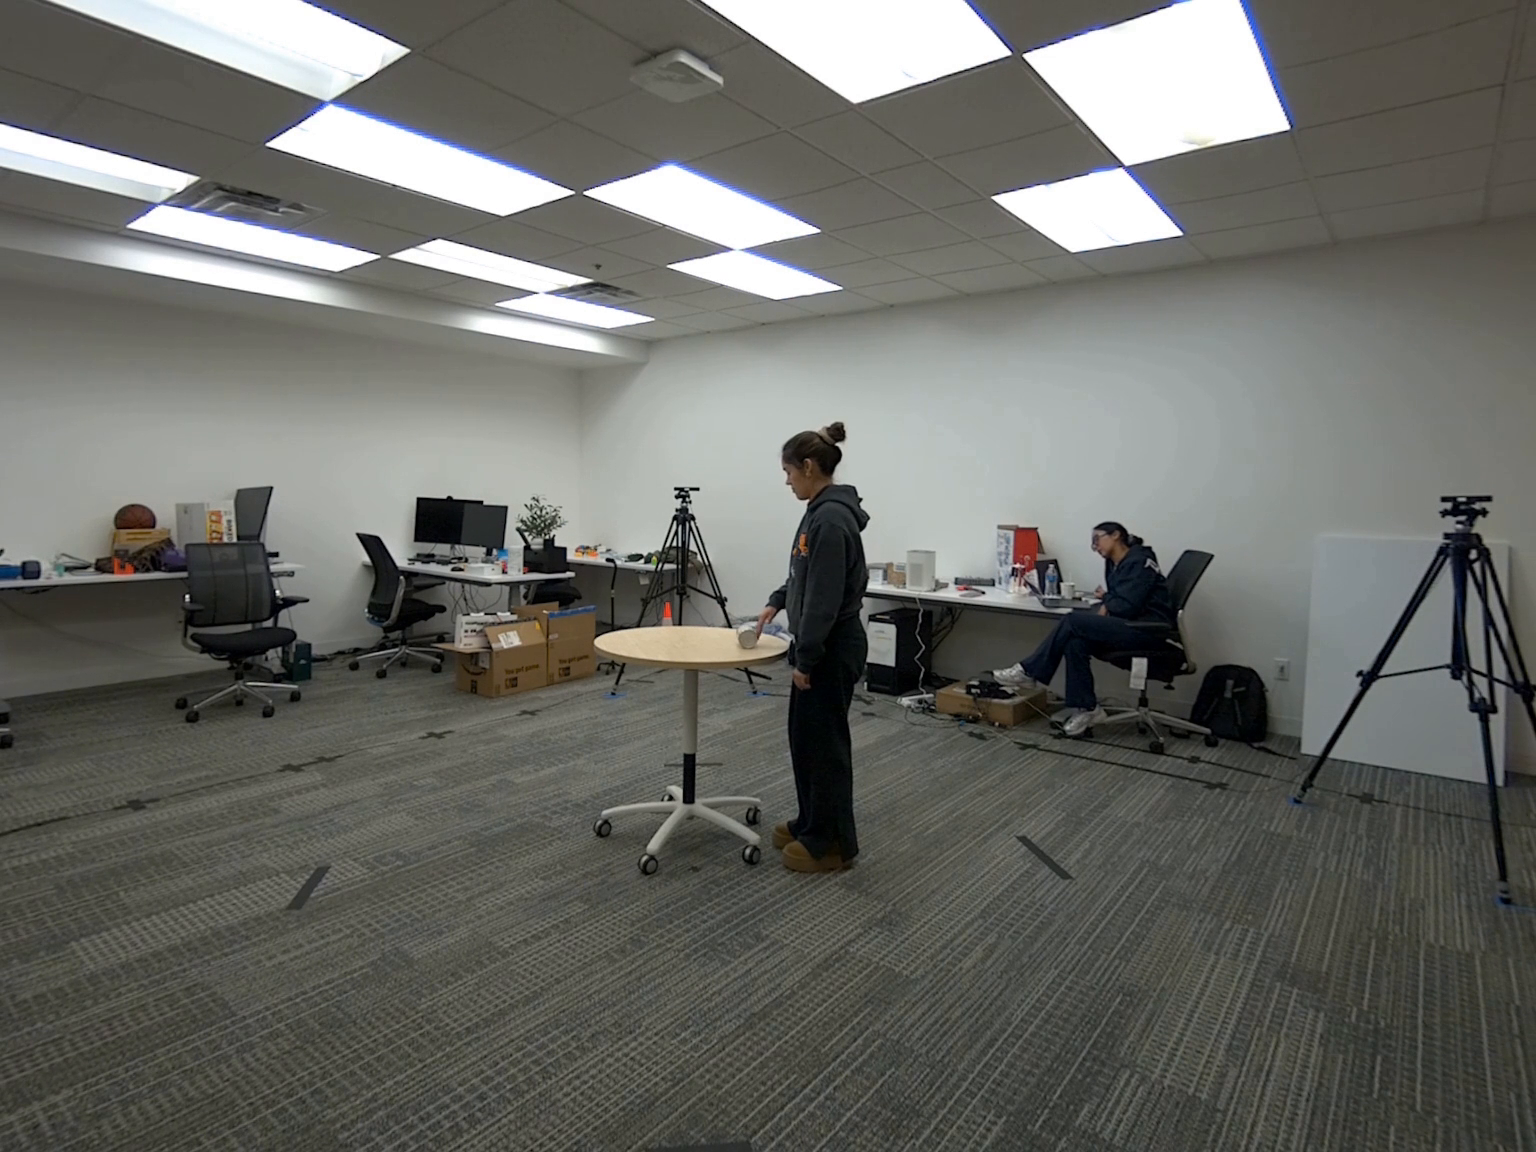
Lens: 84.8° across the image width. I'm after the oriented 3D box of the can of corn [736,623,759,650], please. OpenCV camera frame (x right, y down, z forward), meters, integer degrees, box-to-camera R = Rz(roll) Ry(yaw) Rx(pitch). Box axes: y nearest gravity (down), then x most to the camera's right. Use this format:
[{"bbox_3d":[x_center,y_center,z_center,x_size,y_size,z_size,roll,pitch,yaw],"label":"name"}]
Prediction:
[{"bbox_3d":[-0.091,0.230,3.302,0.074,0.074,0.112,0,7,-6],"label":"can of corn"}]
